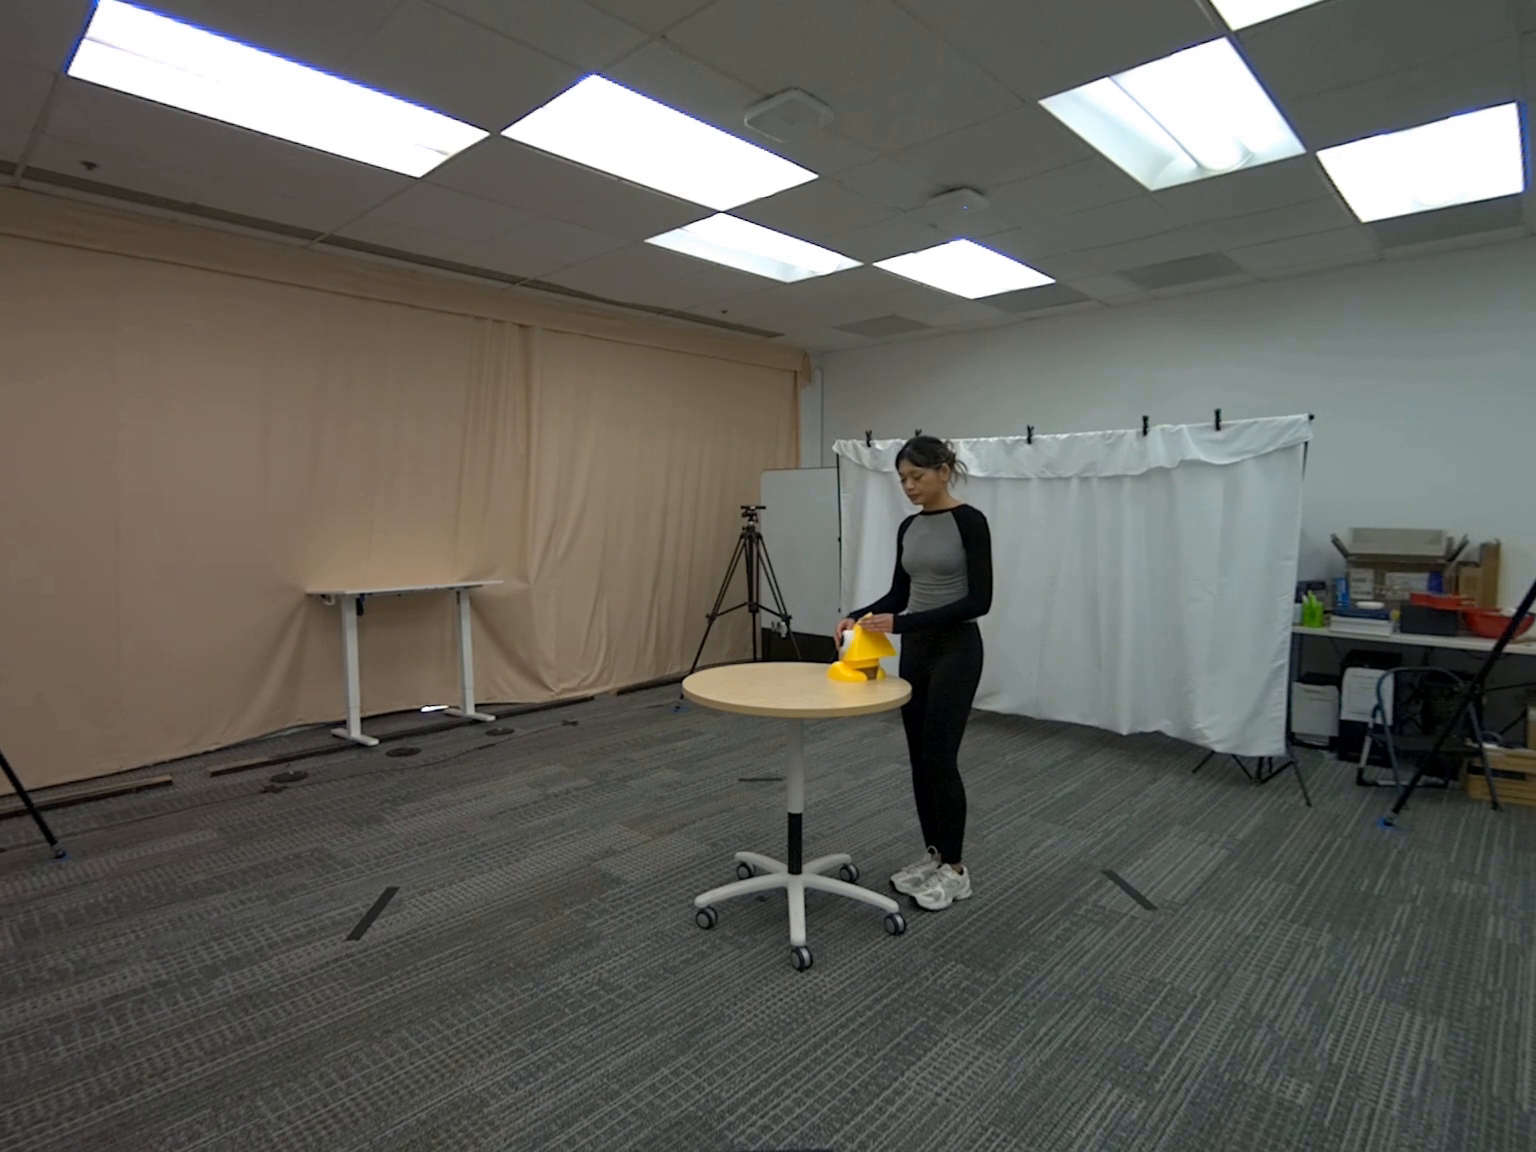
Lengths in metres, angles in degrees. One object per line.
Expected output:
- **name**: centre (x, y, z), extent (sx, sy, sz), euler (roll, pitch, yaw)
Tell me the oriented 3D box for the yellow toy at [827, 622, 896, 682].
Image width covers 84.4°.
- **yellow toy**: centre (0.324, 0.243, 2.955), extent (0.199, 0.230, 0.199), euler (-1, 2, -35)
